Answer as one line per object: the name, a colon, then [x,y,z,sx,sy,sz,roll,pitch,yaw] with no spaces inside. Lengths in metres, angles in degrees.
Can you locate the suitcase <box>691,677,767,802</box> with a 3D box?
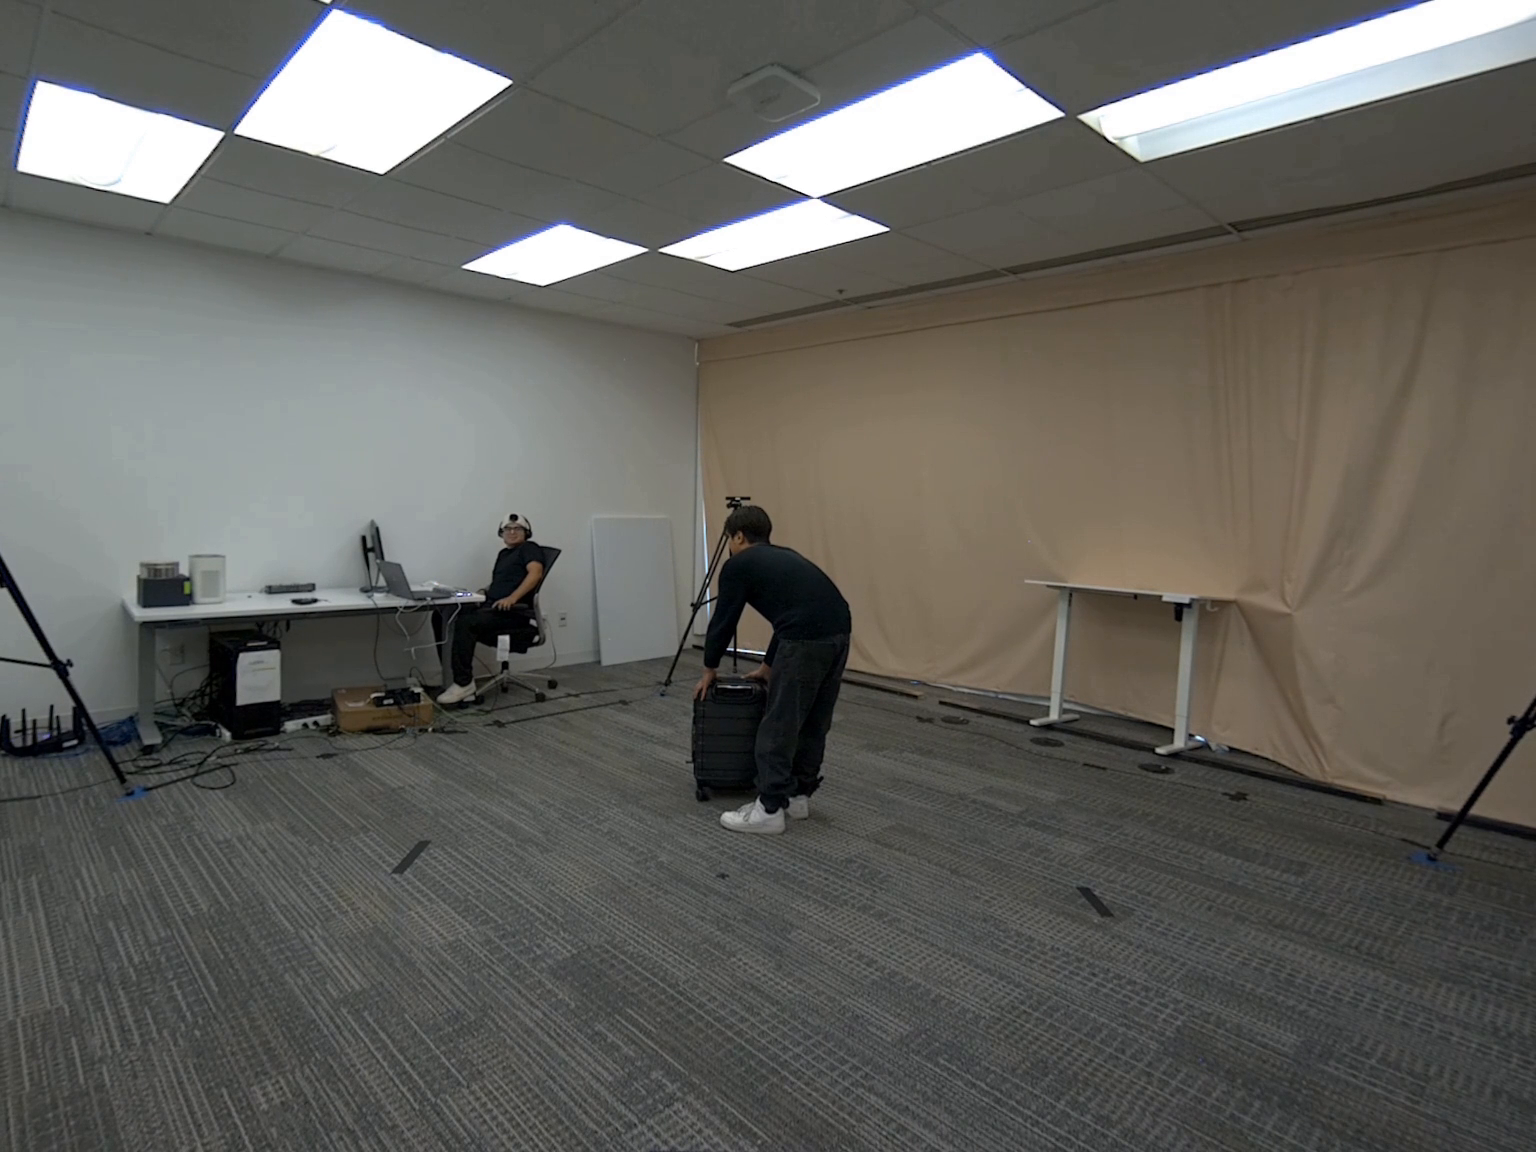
suitcase: [-0.186,0.750,4.012,0.374,0.548,0.249,2,3,-3]
